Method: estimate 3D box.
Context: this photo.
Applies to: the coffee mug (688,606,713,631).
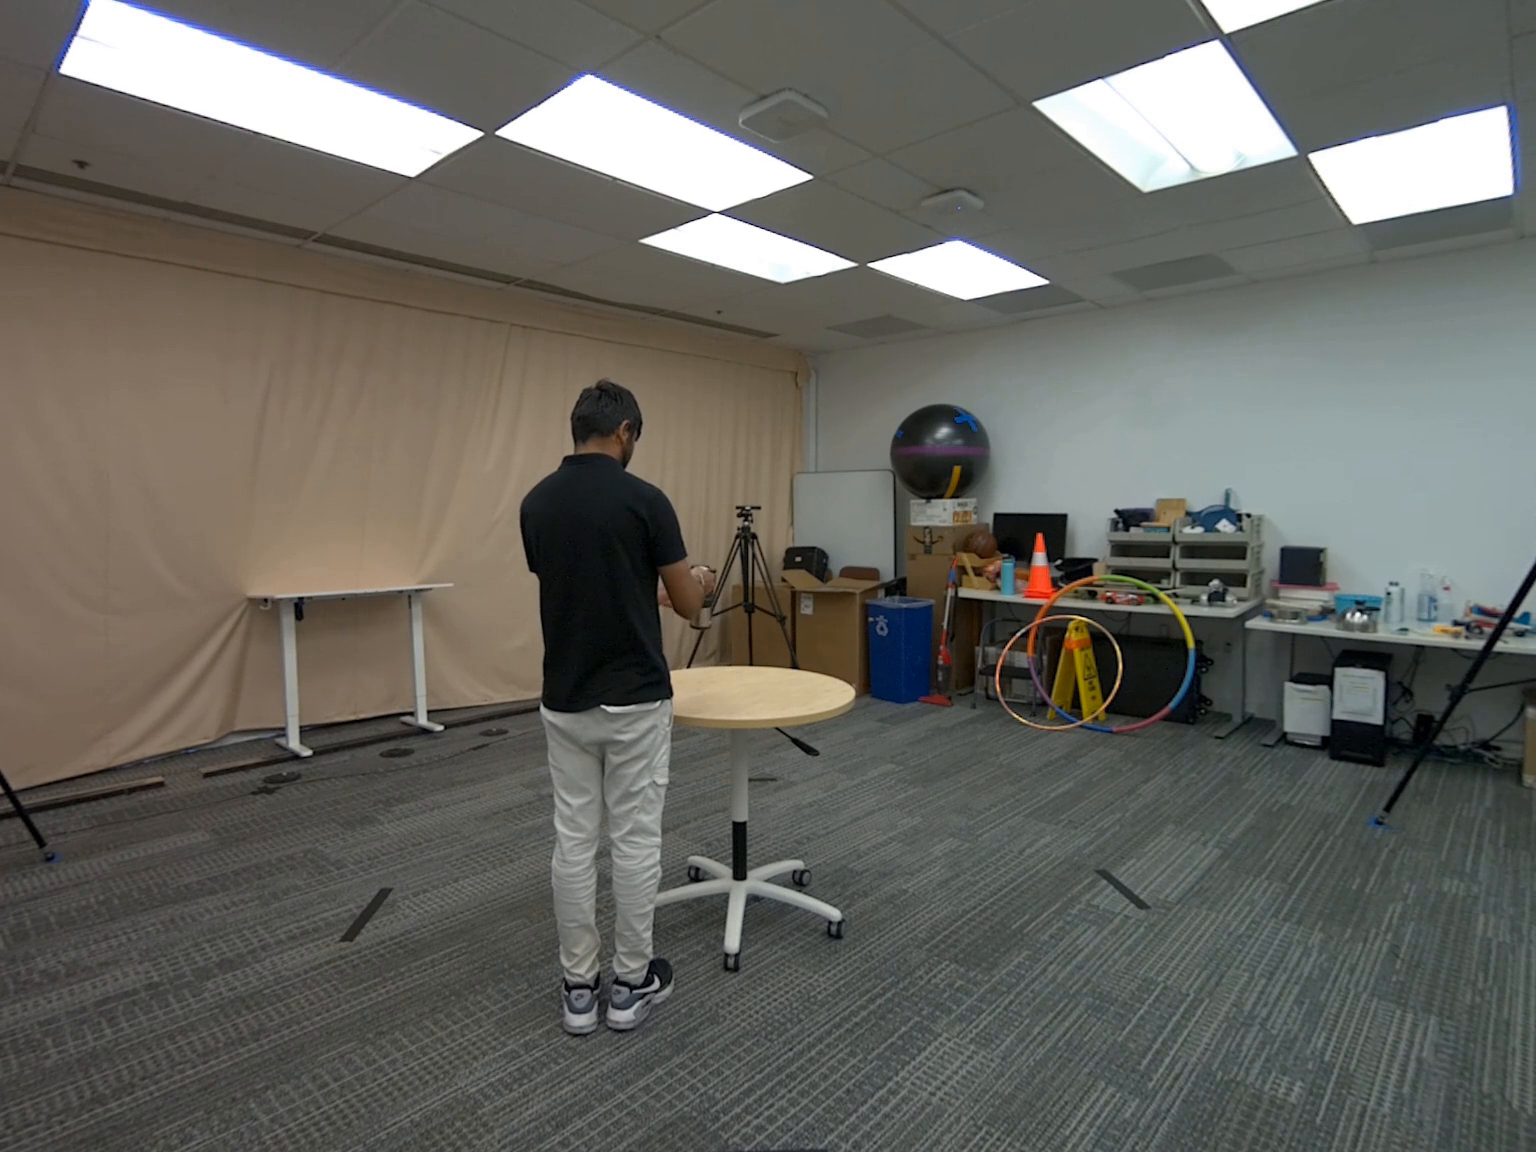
[{"bbox_3d":[-0.222,0.083,2.703,0.090,0.202,0.119,15,12,28],"label":"coffee mug"}]
